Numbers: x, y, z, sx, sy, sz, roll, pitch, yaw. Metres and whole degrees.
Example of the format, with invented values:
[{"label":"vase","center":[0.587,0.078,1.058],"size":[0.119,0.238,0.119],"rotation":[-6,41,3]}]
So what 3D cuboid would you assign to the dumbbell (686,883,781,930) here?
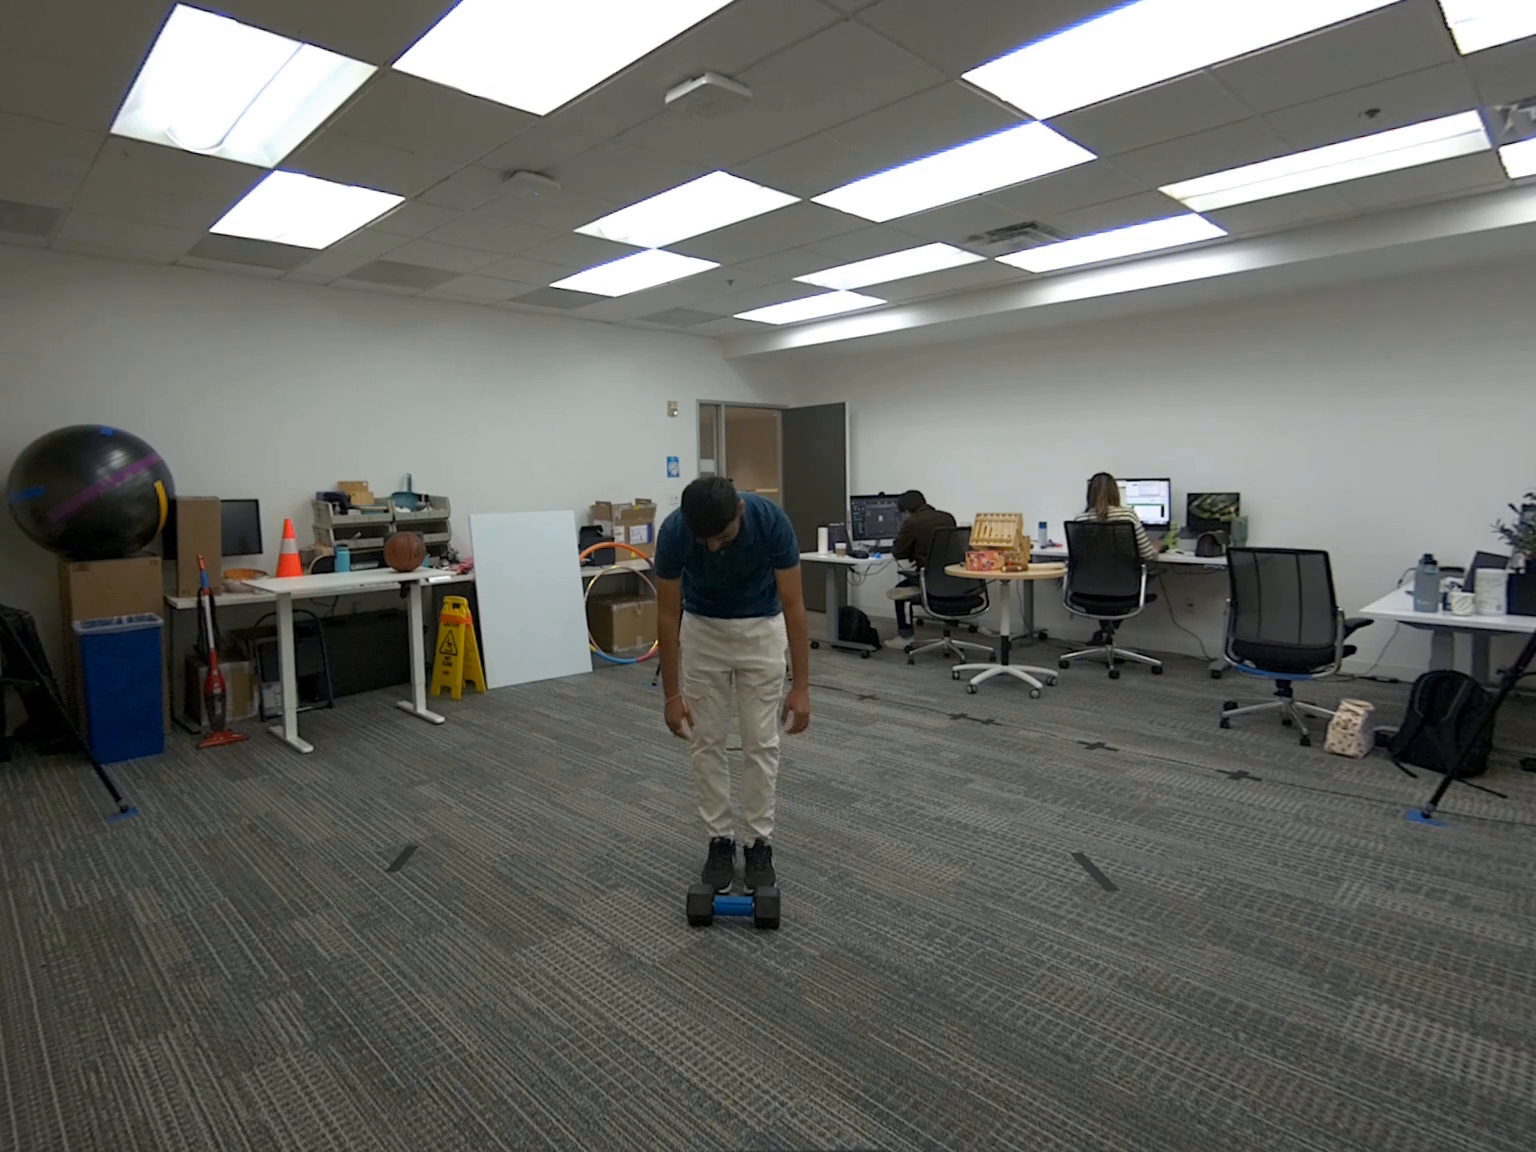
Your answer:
[{"label":"dumbbell","center":[-0.106,1.045,2.695],"size":[0.295,0.119,0.111],"rotation":[0,35,5]}]
